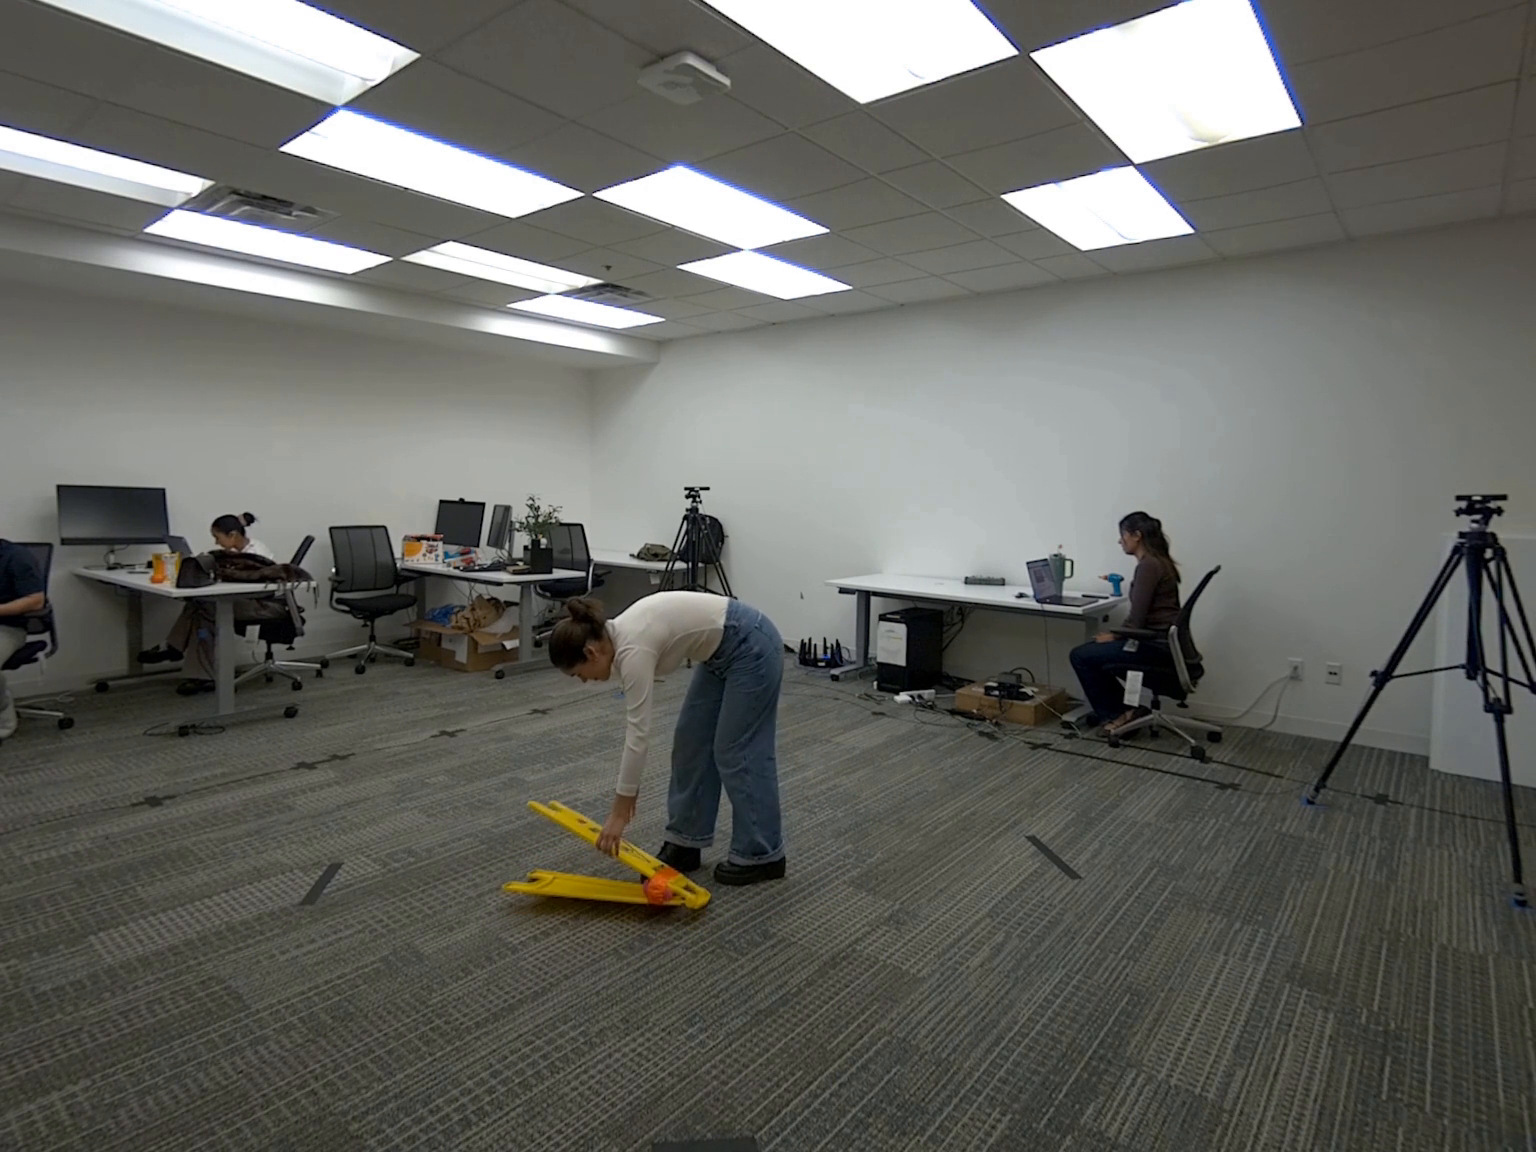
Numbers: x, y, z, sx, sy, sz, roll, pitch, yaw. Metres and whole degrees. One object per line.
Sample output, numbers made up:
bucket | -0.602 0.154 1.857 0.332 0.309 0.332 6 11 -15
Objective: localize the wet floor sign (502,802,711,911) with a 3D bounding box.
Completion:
wet floor sign | -0.517 0.979 2.854 0.657 0.292 0.275 13 -11 13
